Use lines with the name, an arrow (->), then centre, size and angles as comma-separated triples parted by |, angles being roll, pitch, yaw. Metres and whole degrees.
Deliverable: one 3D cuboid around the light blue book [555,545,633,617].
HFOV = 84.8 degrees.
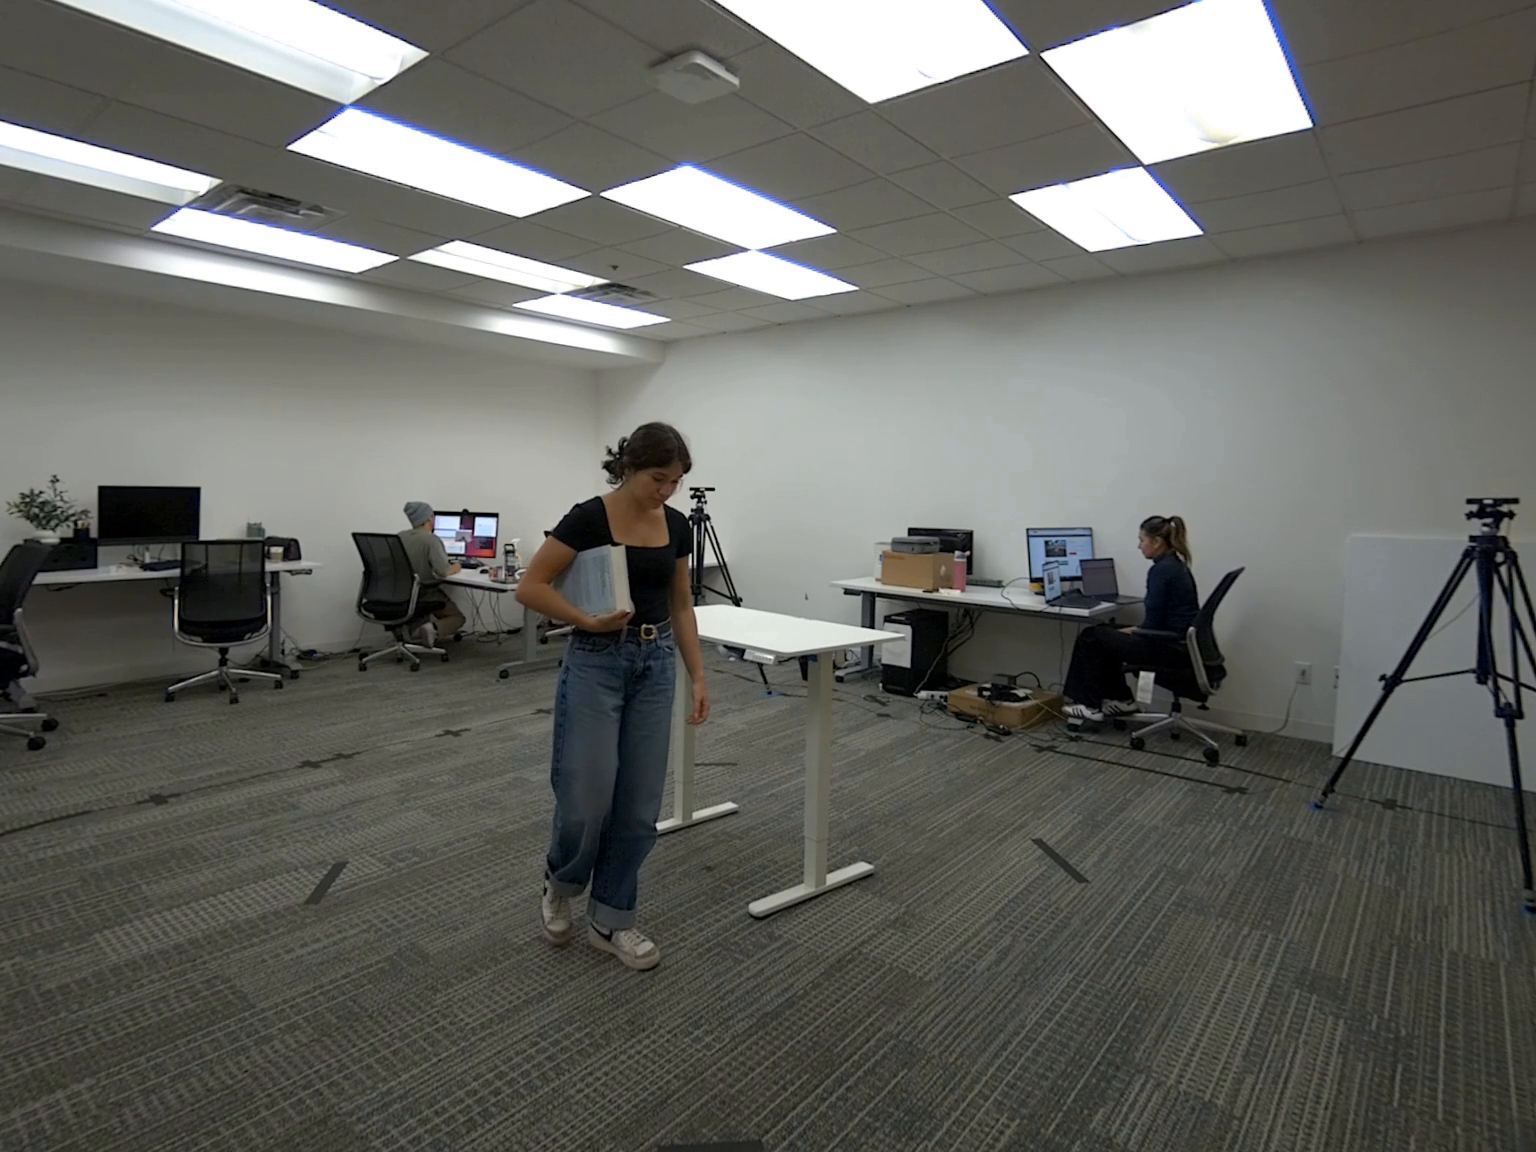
light blue book -> -0.521, 0.020, 2.410 | 0.267, 0.193, 0.057 | -11, -11, 36
